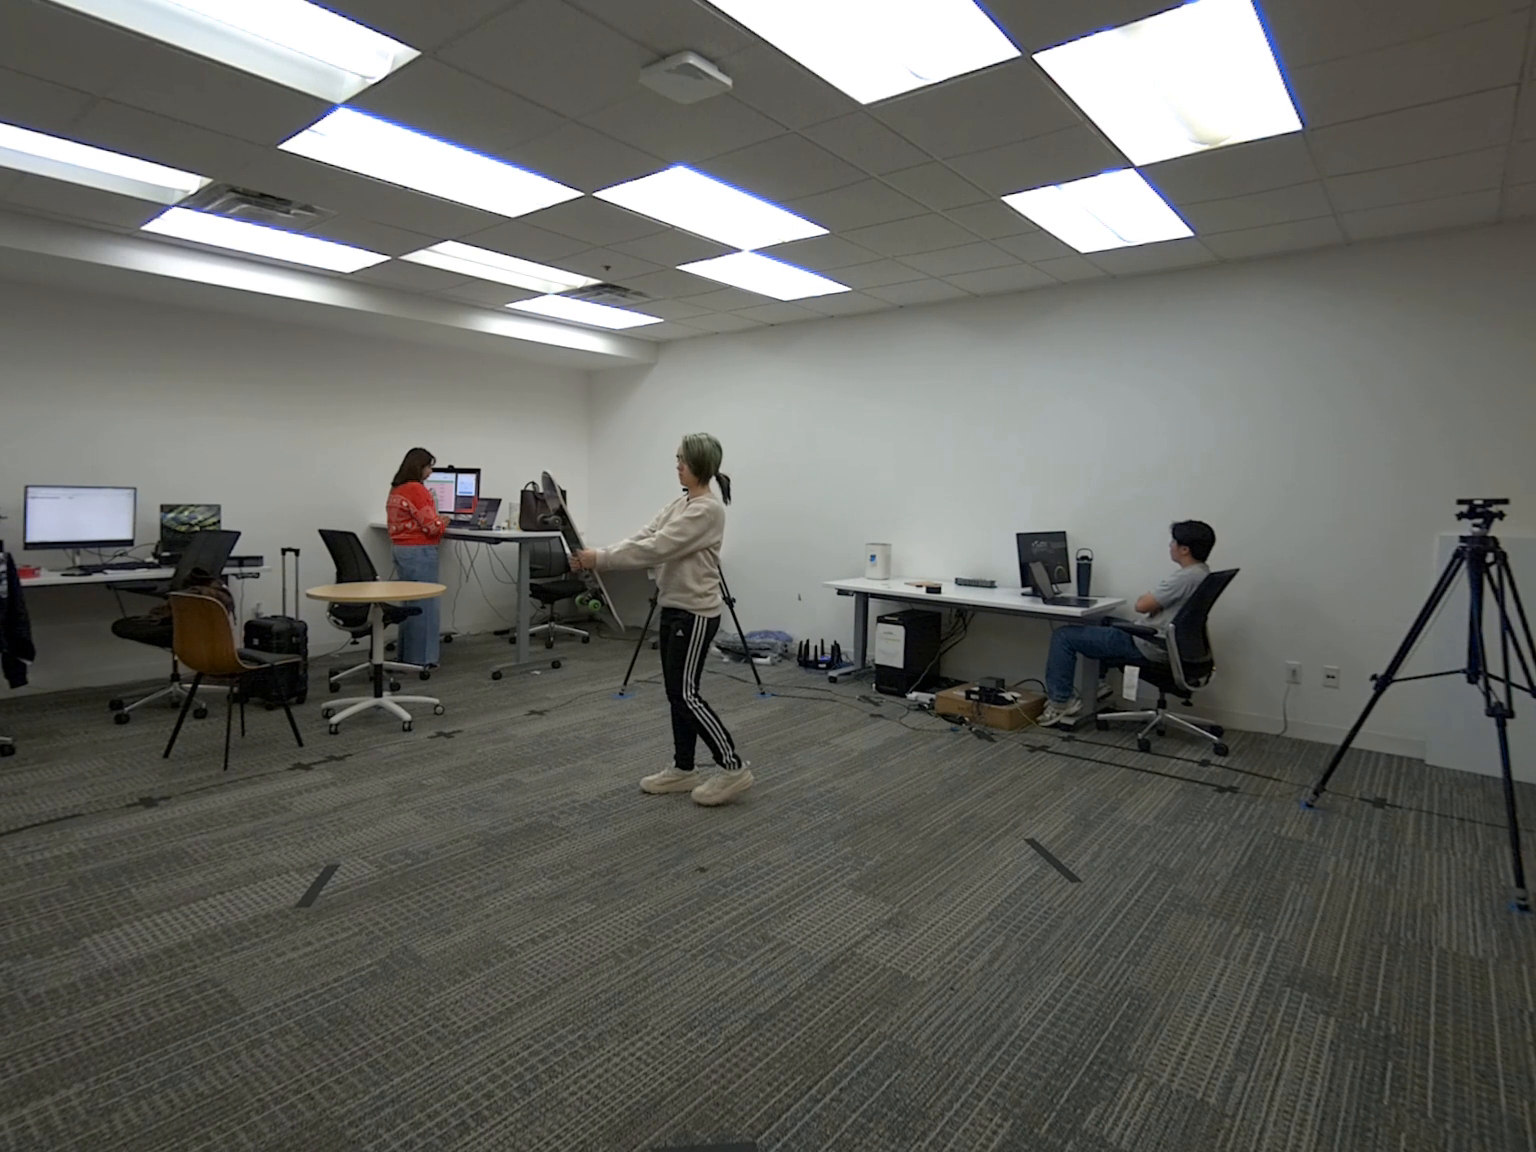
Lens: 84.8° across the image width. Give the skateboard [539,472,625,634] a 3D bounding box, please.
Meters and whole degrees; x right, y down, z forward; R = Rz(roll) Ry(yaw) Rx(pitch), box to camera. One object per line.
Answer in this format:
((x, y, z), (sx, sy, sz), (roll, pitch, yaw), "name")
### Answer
((-0.839, -0.075, 3.626), (0.109, 0.771, 0.199), (-30, 16, -29), "skateboard")
